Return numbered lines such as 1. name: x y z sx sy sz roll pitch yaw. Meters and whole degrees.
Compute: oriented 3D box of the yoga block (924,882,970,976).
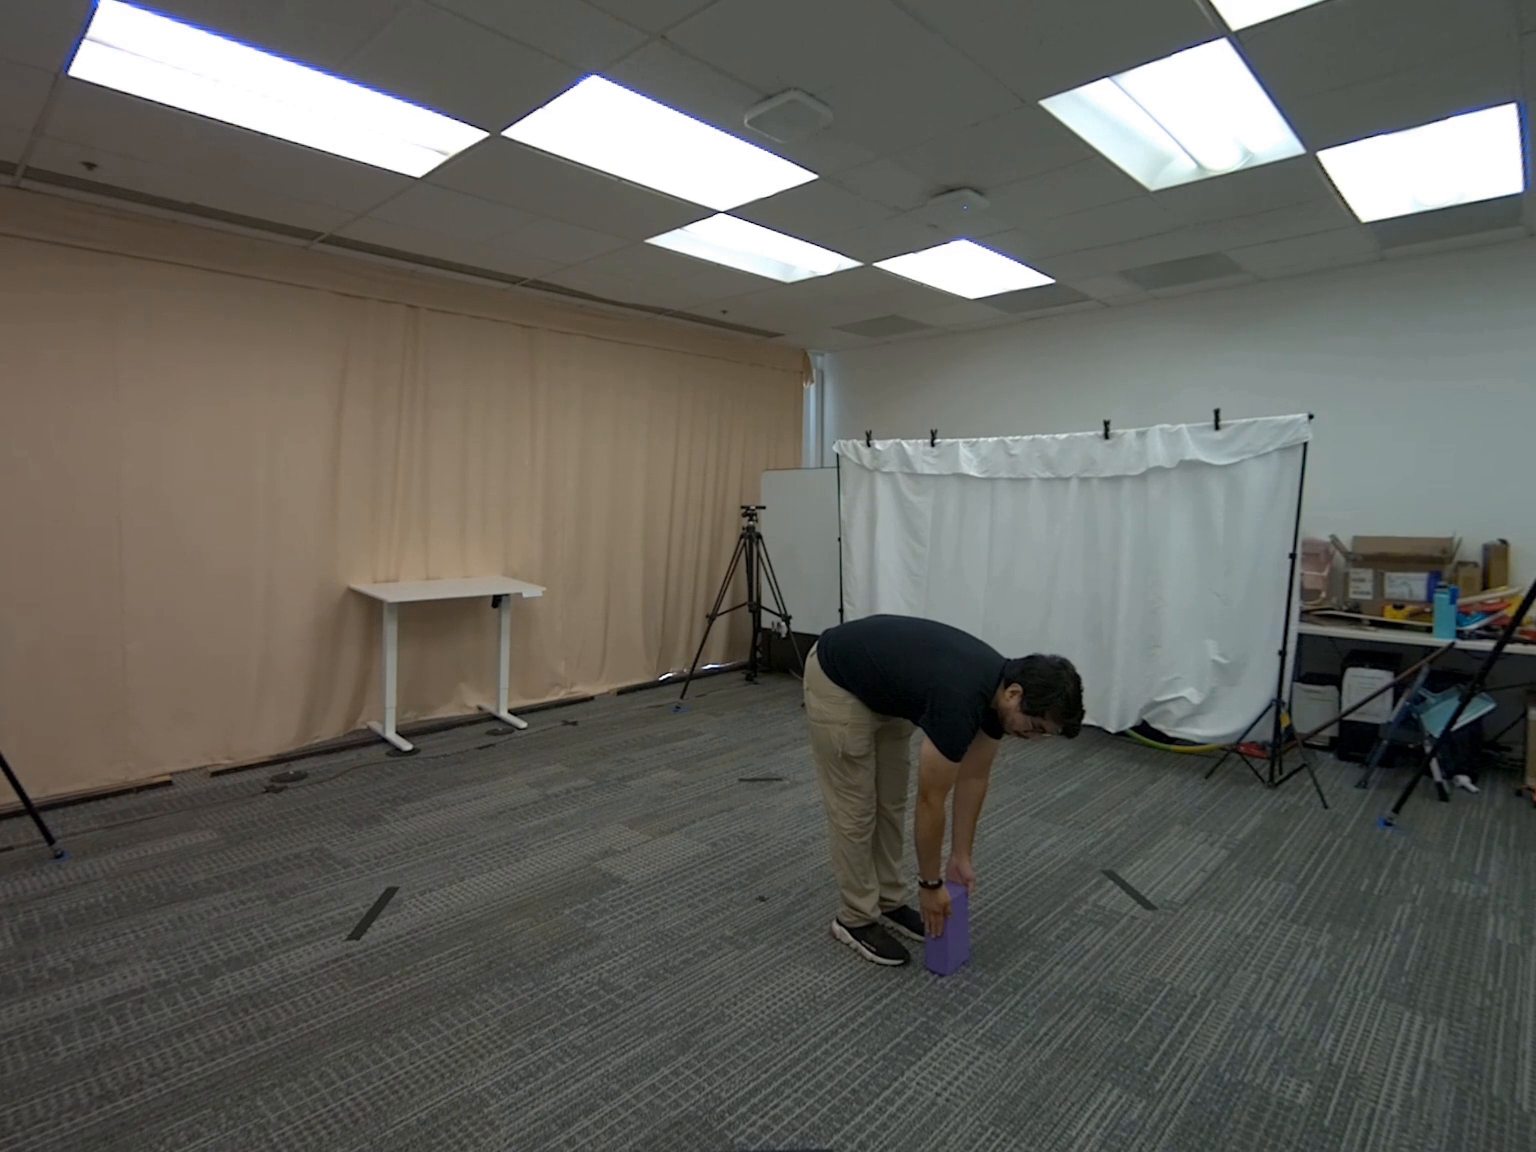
1. yoga block: 0.548 1.067 2.547 0.079 0.229 0.144 4 4 44
